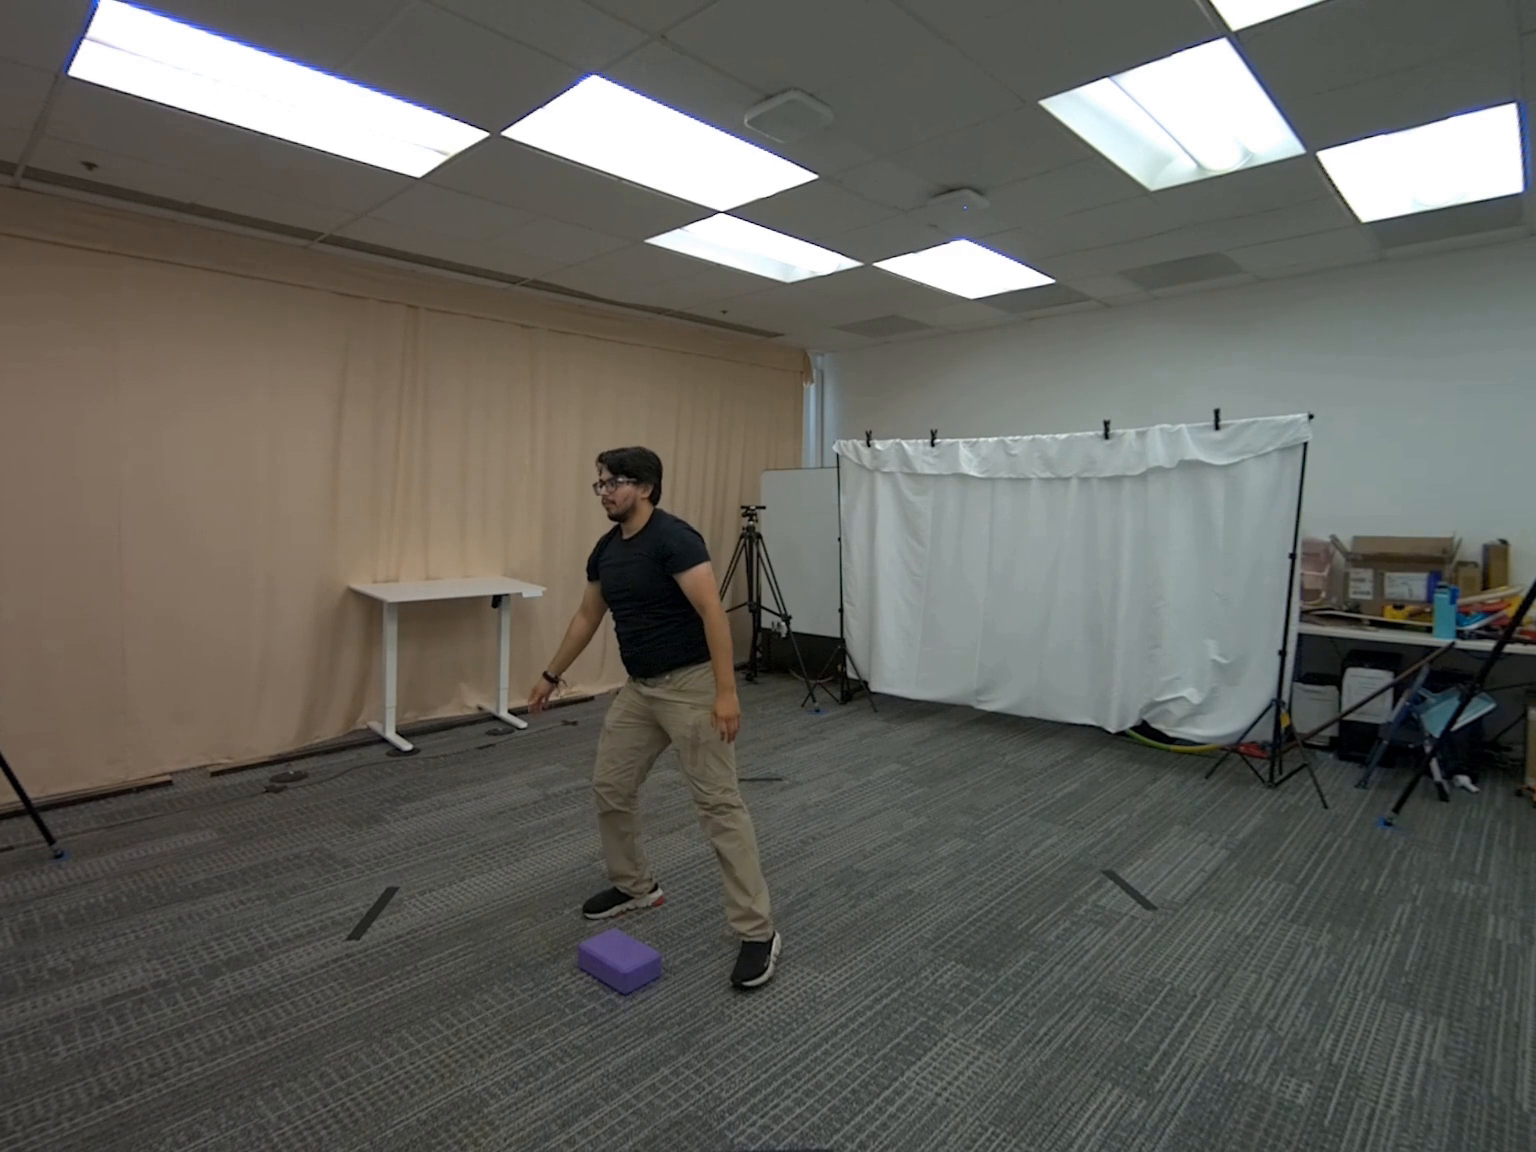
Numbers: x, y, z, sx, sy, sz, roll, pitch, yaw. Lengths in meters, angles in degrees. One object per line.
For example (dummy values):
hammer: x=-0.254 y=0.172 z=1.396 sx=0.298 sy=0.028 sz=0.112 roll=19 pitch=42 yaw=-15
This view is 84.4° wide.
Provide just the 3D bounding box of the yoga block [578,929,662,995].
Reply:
yoga block: x=-0.445 y=1.150 z=2.508 sx=0.237 sy=0.076 sz=0.144 roll=5 pitch=6 yaw=42
